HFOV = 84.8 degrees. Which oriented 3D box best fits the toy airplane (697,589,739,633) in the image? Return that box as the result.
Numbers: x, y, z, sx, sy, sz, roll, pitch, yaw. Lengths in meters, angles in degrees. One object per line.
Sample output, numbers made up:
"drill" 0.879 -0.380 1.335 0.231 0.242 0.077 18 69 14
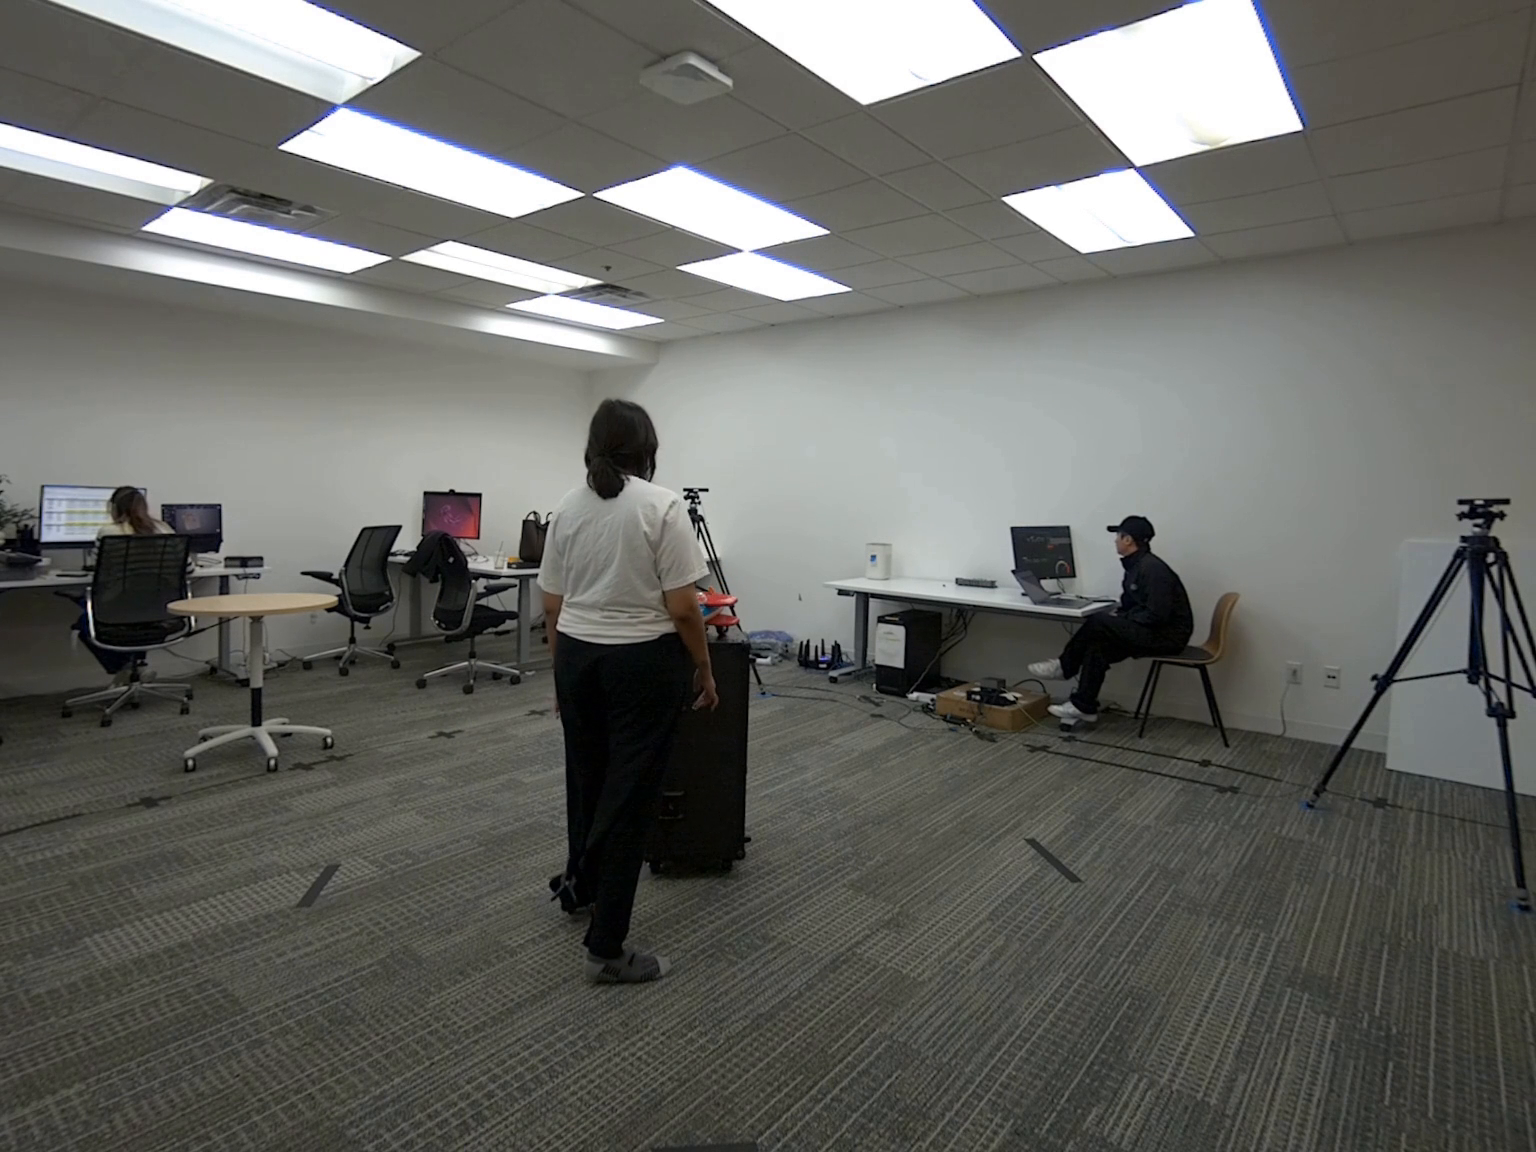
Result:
"toy airplane" -0.235 0.139 3.112 0.251 0.156 0.260 1 4 -1
